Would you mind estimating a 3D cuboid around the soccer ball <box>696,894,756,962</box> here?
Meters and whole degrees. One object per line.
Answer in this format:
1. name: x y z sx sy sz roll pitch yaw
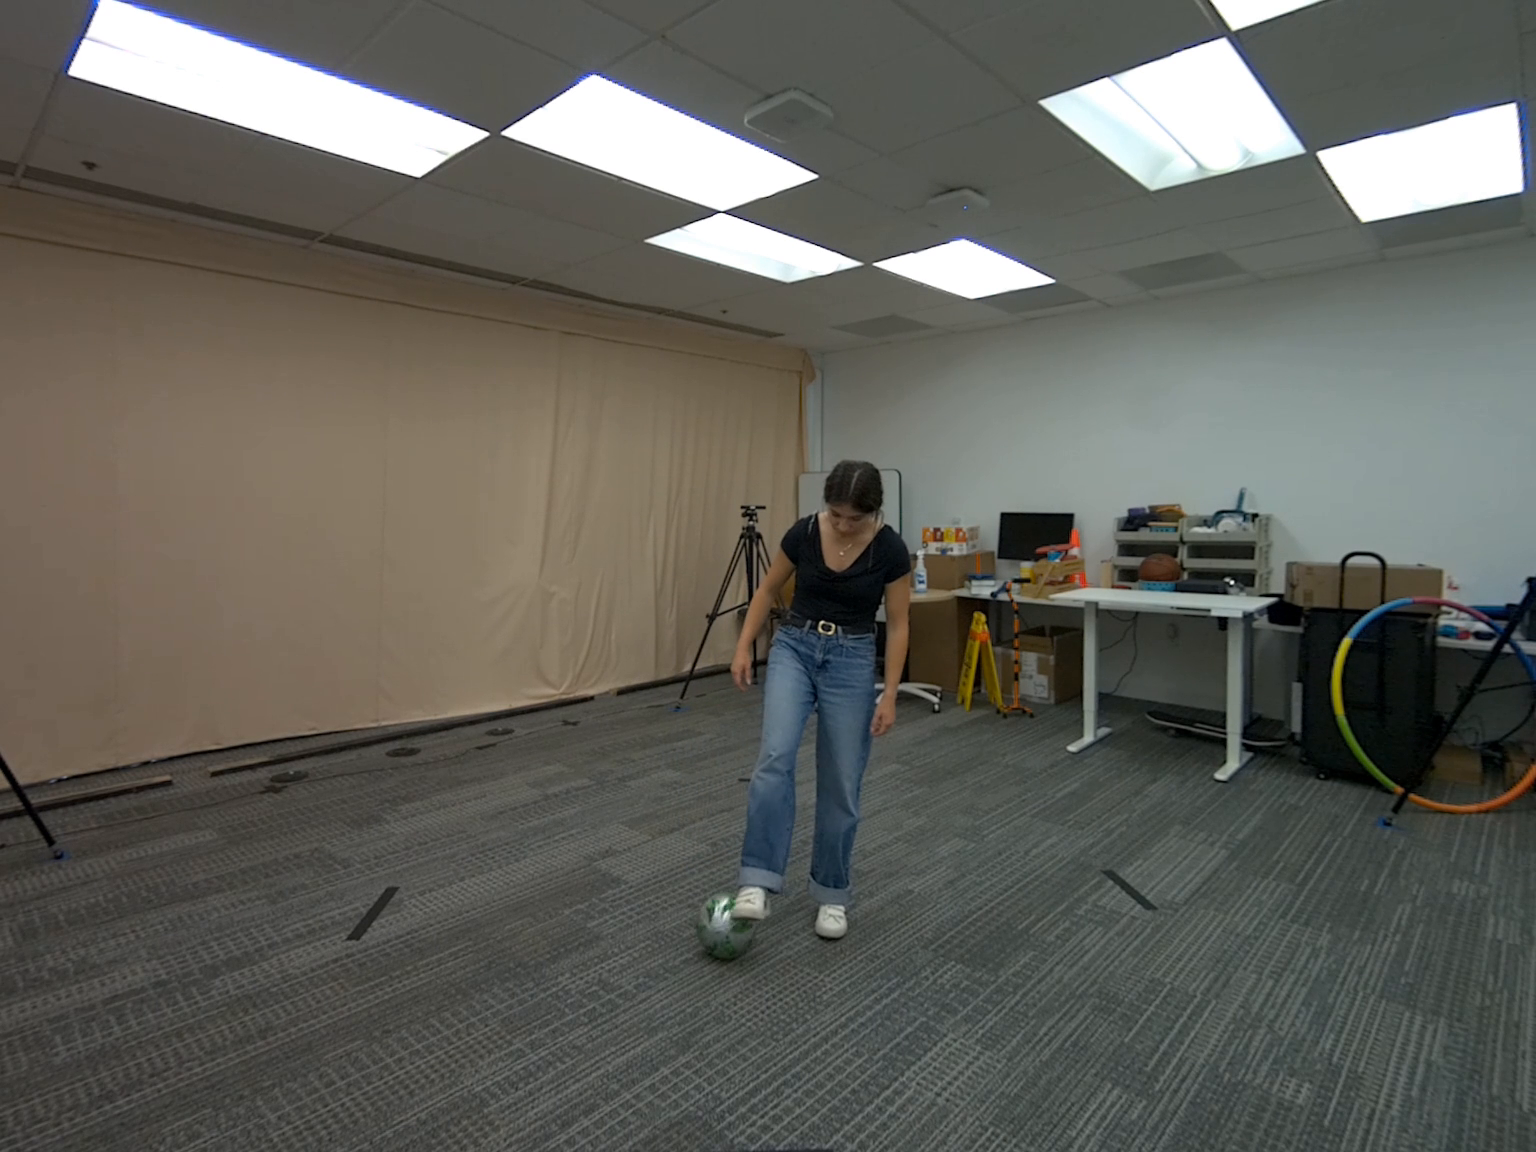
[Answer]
1. soccer ball: -0.119 1.085 2.615 0.187 0.187 0.188 0 4 -2
